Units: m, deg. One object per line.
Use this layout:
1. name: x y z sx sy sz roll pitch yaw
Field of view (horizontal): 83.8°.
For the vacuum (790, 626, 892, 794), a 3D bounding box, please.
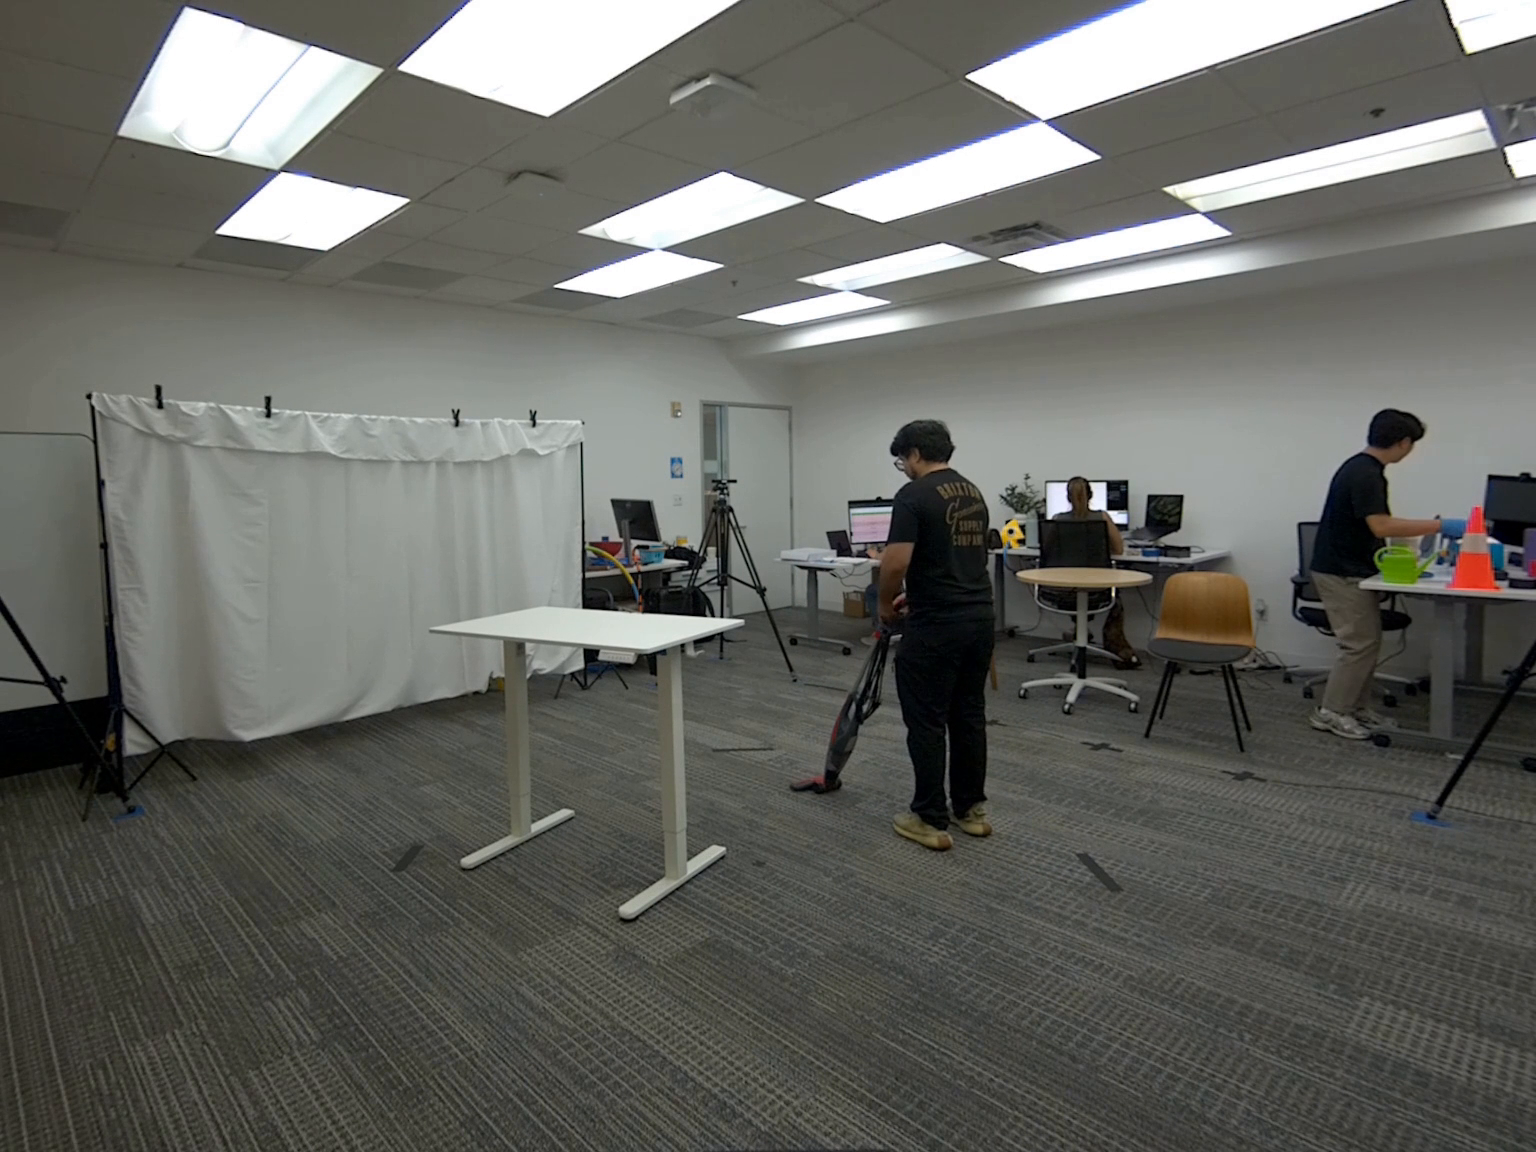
1. vacuum: 0.386 0.529 3.634 0.246 1.035 0.149 -9 38 -41
